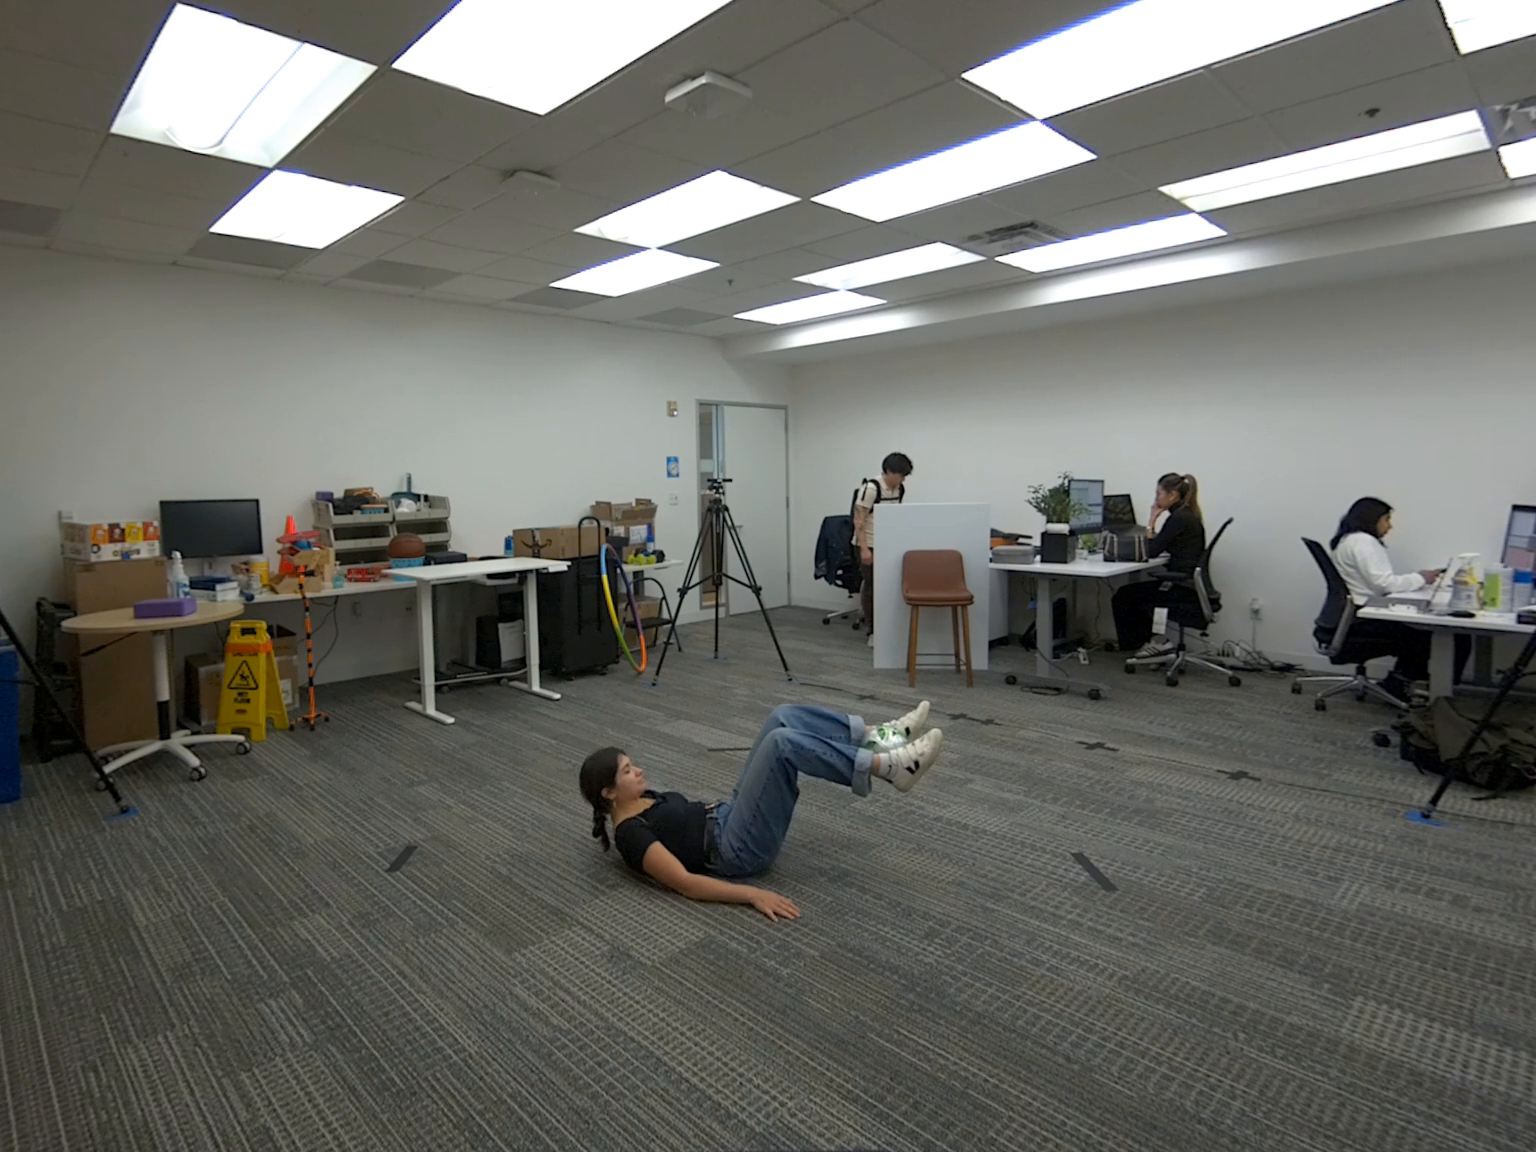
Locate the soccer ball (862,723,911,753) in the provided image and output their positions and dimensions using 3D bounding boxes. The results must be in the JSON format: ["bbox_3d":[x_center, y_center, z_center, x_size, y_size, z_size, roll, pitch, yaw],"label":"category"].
[{"bbox_3d":[0.423,0.628,3.056,0.187,0.187,0.188,0,1,-2],"label":"soccer ball"}]
